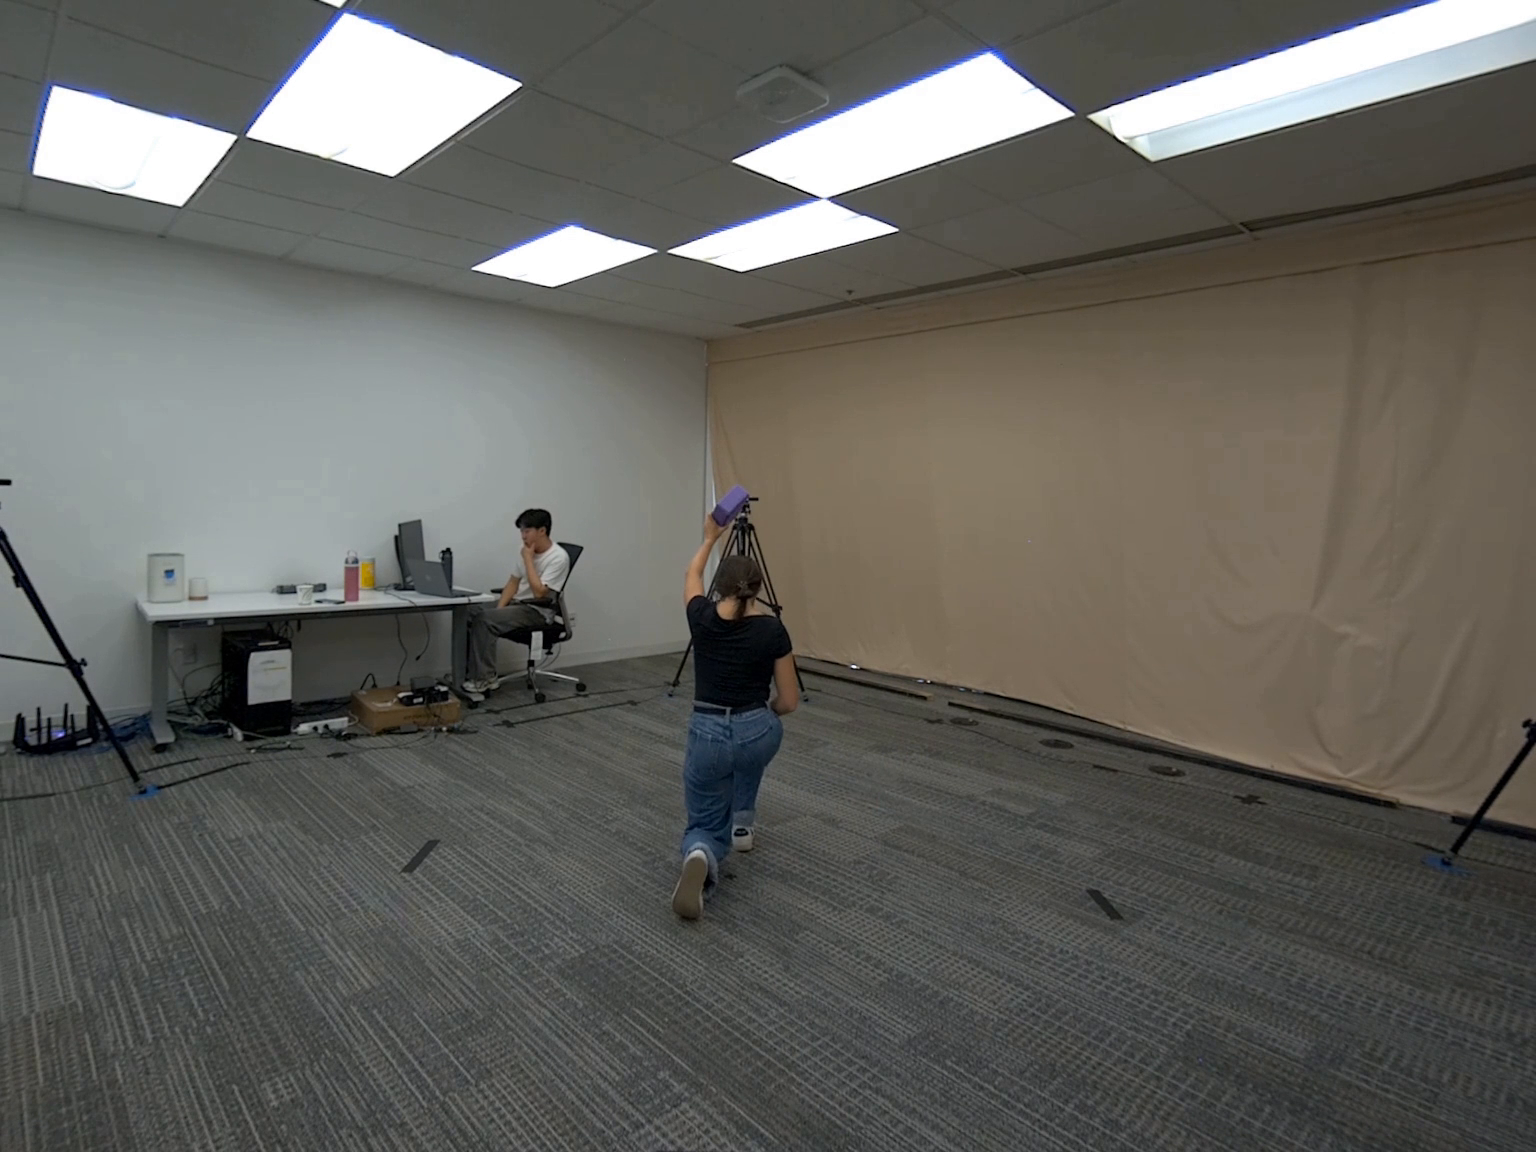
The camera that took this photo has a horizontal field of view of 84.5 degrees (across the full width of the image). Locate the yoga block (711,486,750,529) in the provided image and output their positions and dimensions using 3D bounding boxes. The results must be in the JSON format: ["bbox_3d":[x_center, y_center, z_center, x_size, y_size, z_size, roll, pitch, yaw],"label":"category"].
[{"bbox_3d":[-0.187,-0.292,3.681,0.077,0.149,0.228,40,-26,4],"label":"yoga block"}]
